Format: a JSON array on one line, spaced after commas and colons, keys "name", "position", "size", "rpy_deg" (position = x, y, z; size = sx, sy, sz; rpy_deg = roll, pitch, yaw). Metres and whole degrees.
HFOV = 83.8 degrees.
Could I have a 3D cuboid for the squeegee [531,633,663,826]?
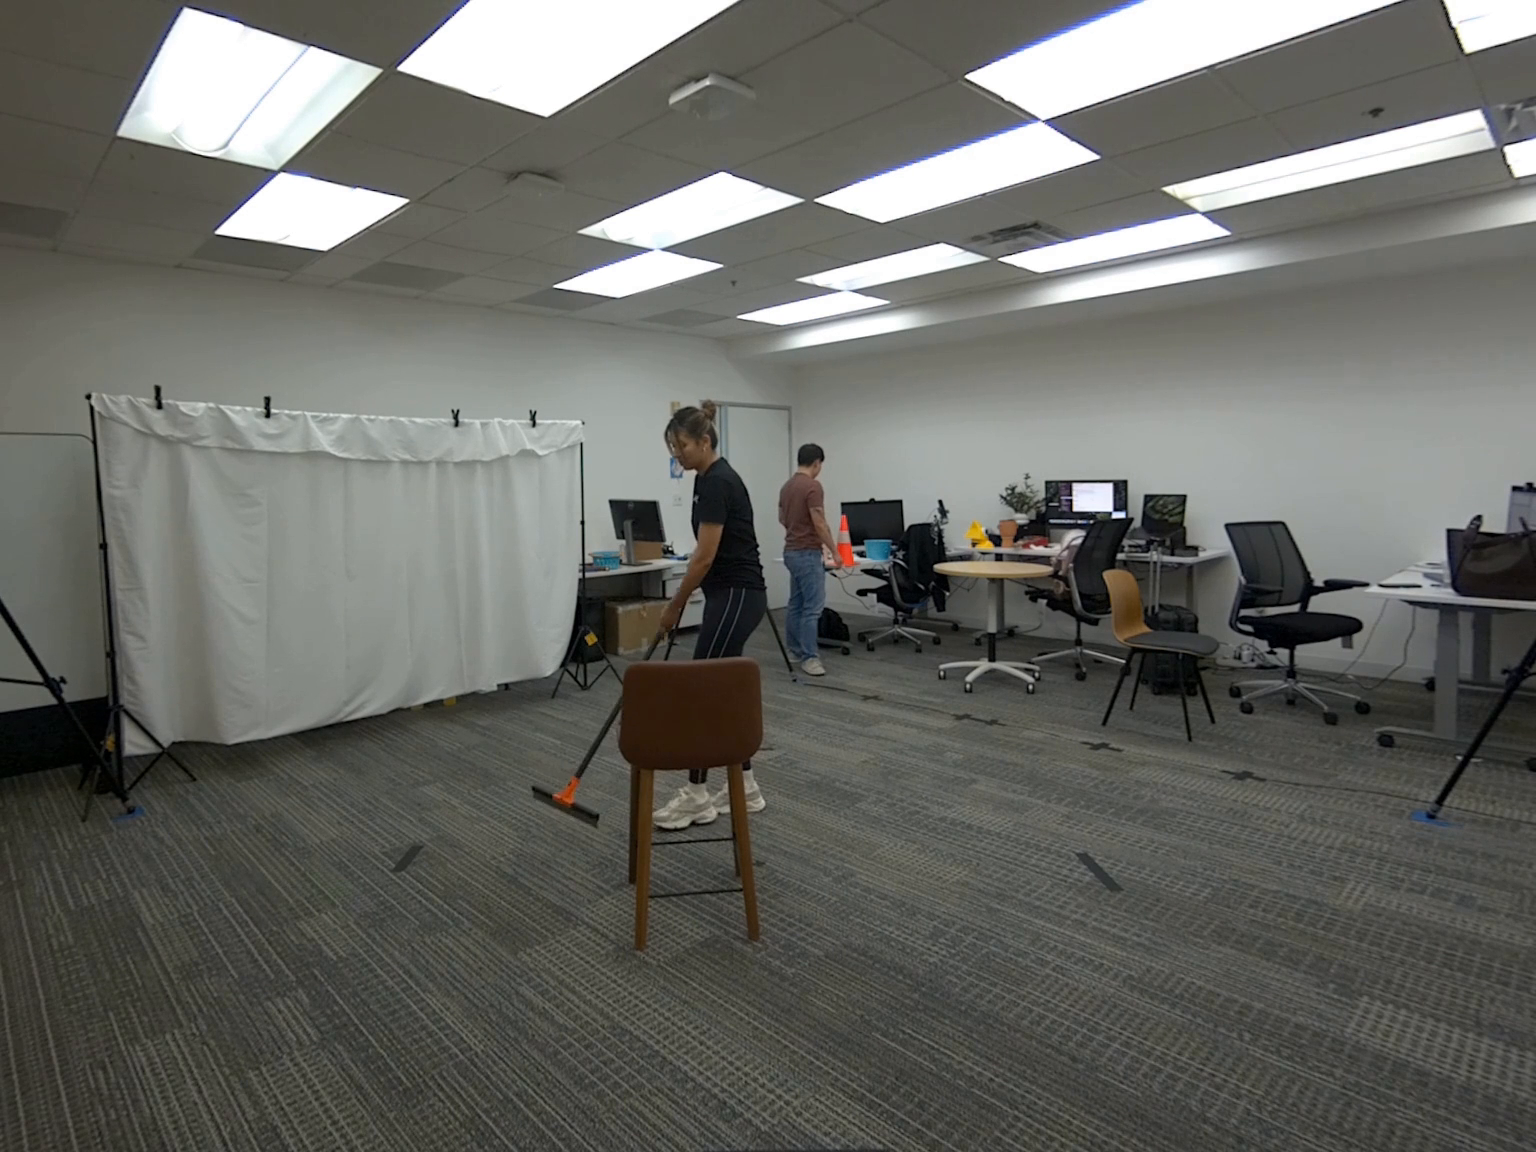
[{"name": "squeegee", "position": [-0.455, 0.267, 3.496], "size": [0.451, 1.548, 0.051], "rpy_deg": [3, -35, 45]}]
